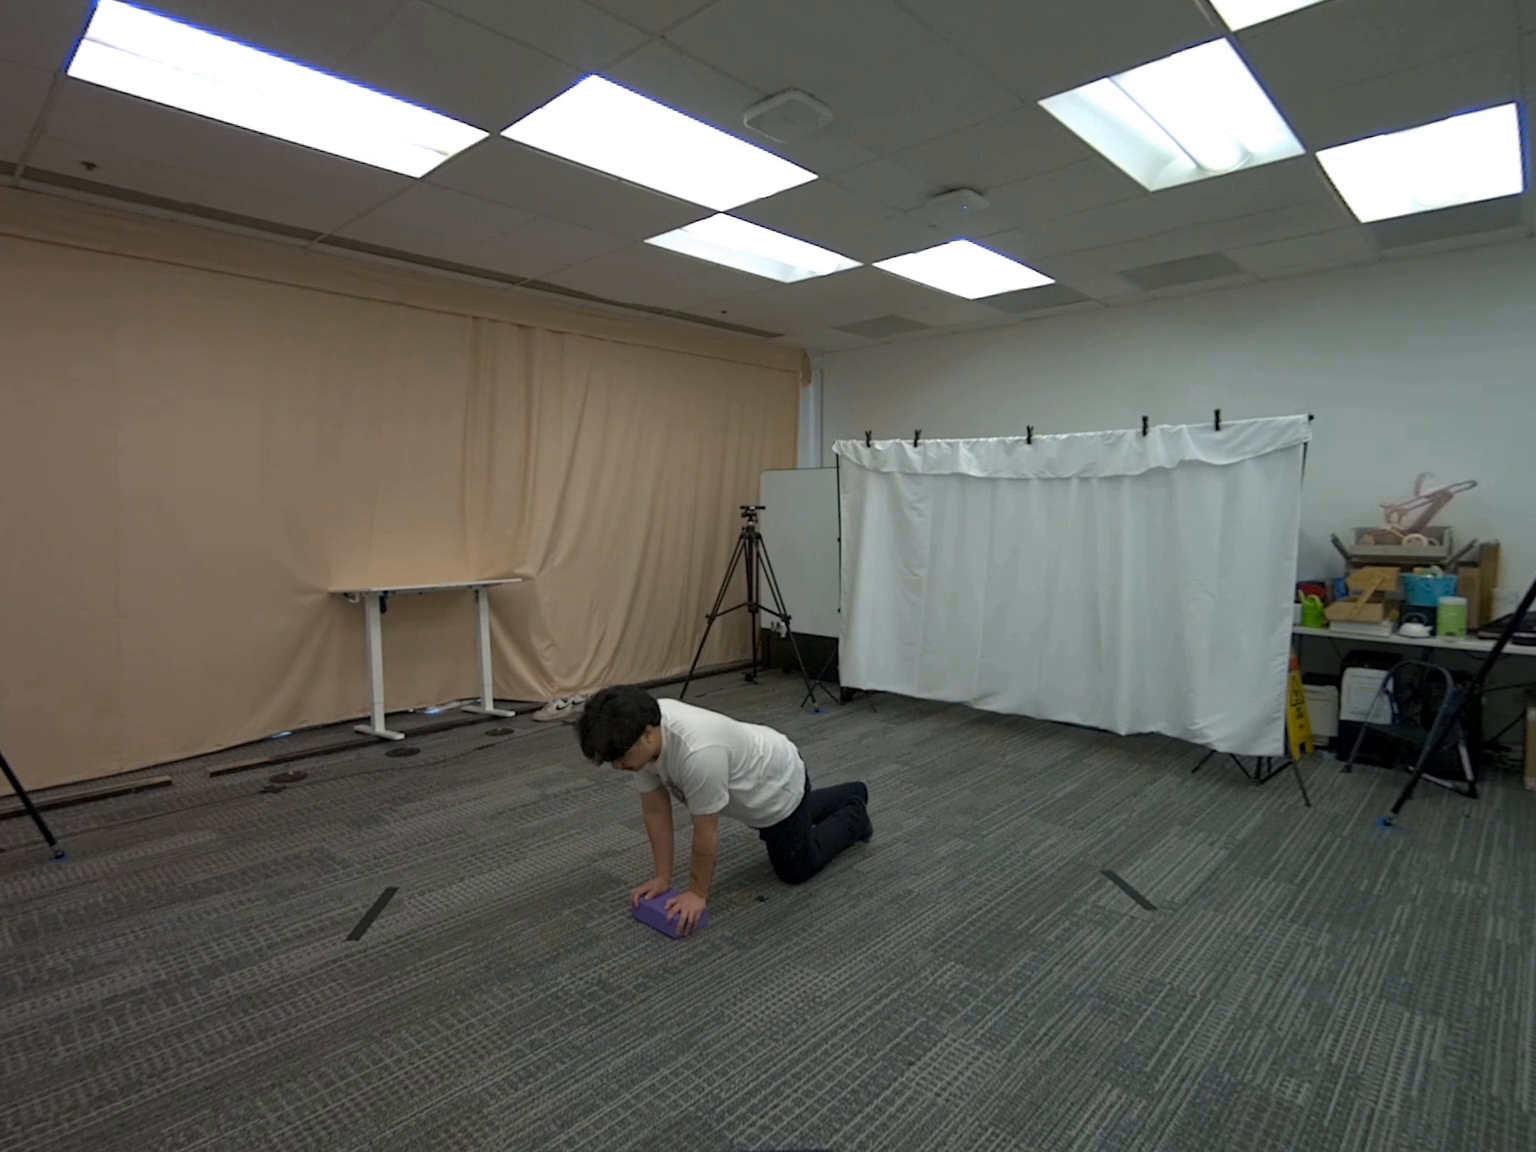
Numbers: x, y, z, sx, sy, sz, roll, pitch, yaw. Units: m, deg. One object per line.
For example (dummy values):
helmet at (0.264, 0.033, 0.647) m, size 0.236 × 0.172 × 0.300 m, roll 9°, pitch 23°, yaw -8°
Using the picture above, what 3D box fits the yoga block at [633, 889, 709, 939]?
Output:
yoga block at (-0.328, 1.126, 2.822) m, size 0.237 × 0.076 × 0.145 m, roll 4°, pitch 9°, yaw 42°
